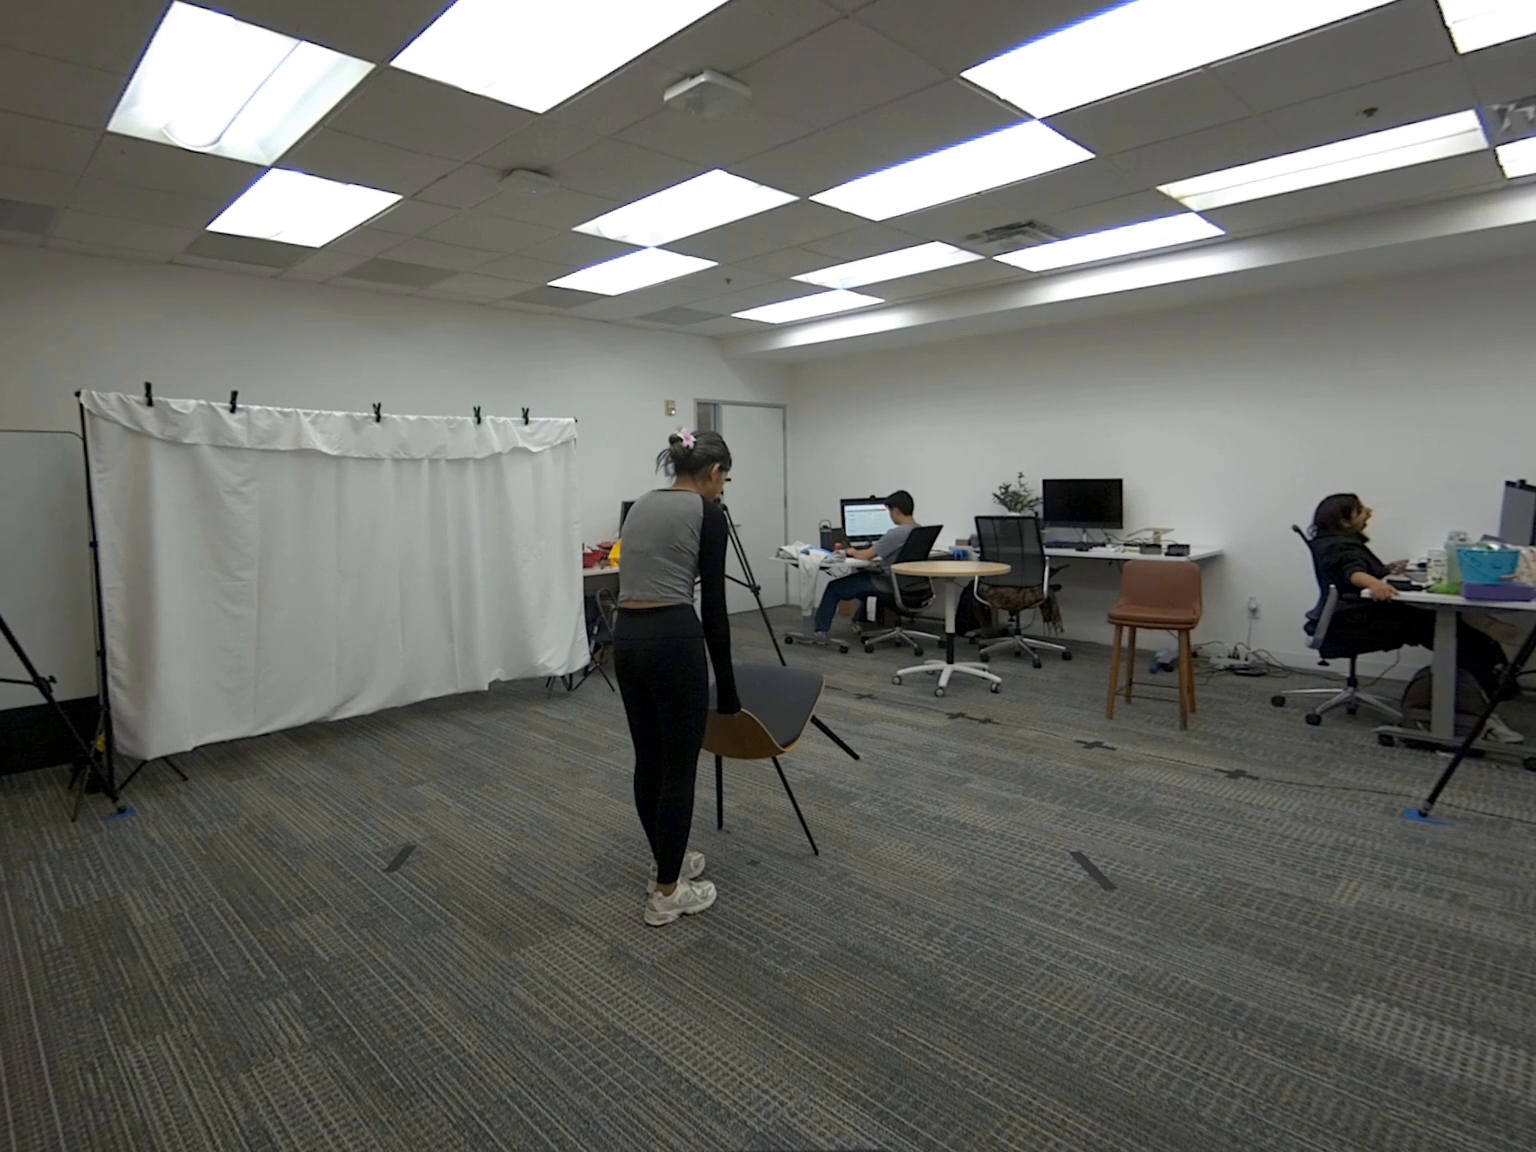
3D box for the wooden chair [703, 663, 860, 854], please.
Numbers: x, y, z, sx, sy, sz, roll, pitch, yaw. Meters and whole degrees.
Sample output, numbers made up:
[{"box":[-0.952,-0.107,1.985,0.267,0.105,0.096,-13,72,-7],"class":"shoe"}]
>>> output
[{"box":[-0.040,0.548,3.206,0.492,0.846,0.527,3,46,34],"class":"wooden chair"}]
